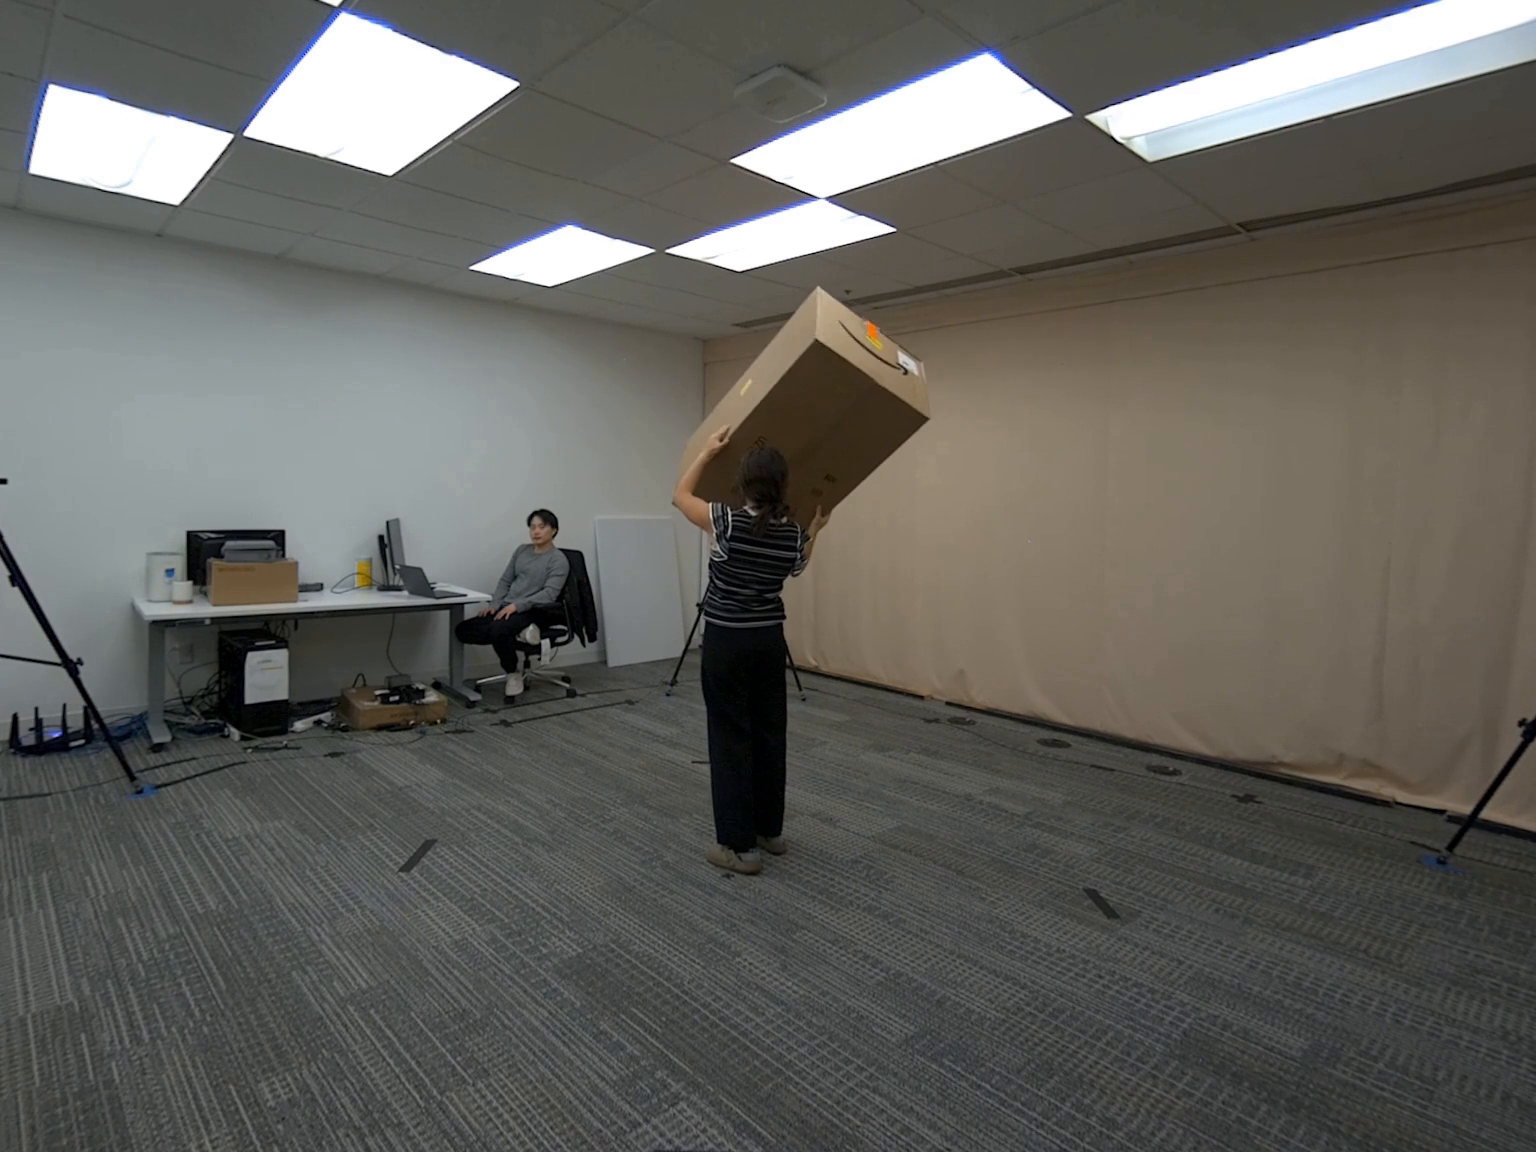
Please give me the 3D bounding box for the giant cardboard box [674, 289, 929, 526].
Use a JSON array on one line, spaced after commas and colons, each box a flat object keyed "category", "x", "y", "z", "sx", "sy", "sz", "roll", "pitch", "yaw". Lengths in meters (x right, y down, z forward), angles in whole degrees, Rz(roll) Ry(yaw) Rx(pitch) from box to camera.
[{"category": "giant cardboard box", "x": 0.101, "y": -0.604, "z": 3.616, "sx": 0.566, "sy": 0.434, "sz": 1.027, "roll": 30, "pitch": -50, "yaw": -21}]
